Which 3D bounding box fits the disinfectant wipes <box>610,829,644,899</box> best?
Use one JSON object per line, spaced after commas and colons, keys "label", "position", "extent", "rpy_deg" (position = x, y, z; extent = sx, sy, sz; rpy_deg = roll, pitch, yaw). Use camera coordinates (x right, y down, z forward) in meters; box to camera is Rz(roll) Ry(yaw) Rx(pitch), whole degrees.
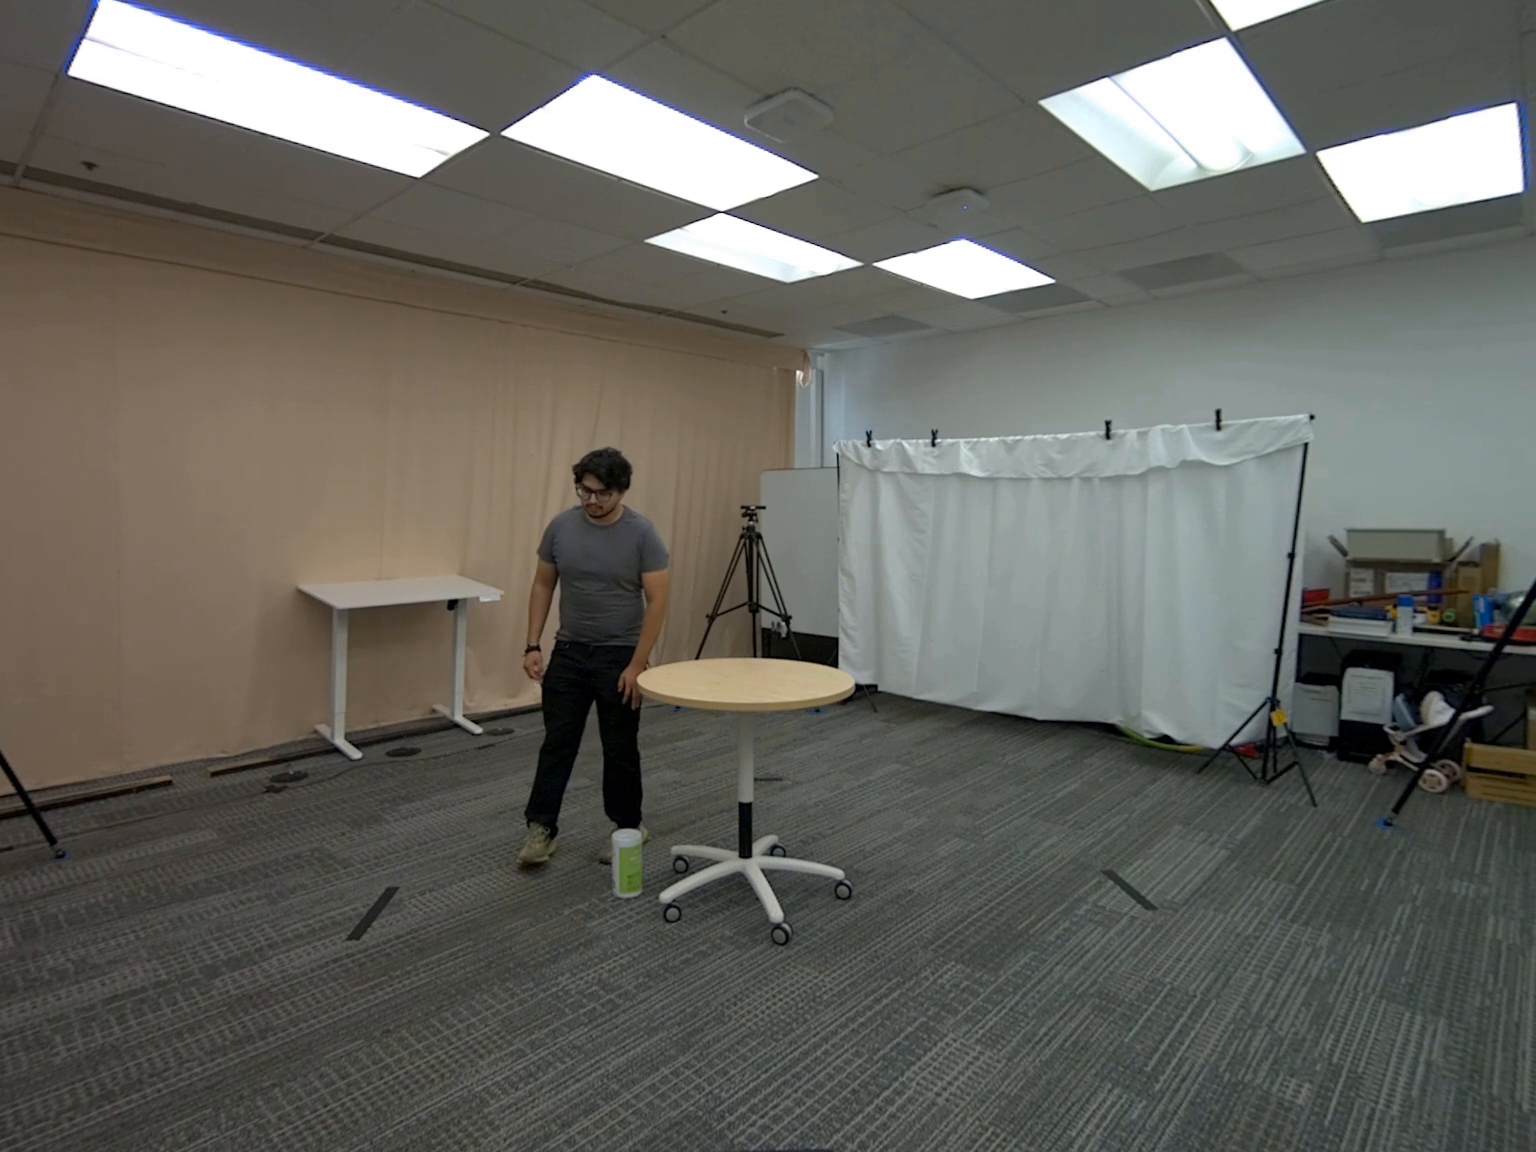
{"label": "disinfectant wipes", "position": [-0.504, 1.033, 3.039], "extent": [0.118, 0.217, 0.118], "rpy_deg": [-2, 3, -2]}
